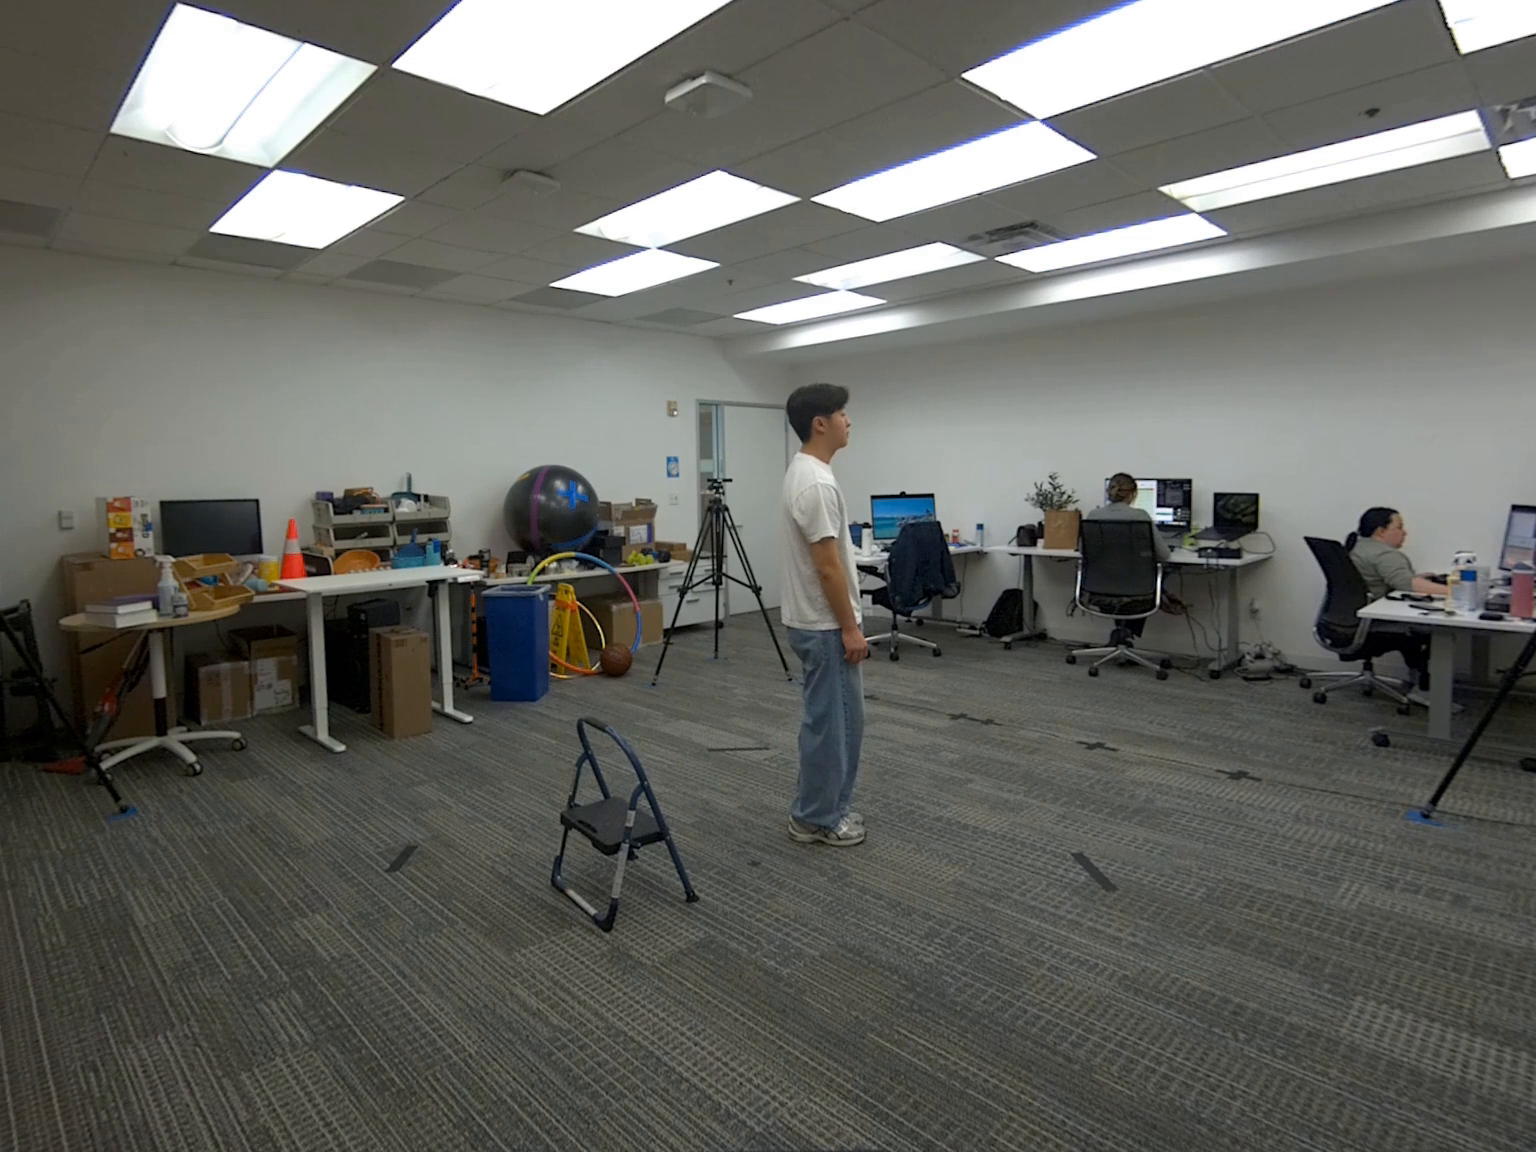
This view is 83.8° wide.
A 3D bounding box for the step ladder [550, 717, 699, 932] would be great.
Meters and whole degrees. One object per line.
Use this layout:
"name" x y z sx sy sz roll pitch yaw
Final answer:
"step ladder" -0.502 0.773 2.892 0.340 0.604 0.444 -5 6 -38
